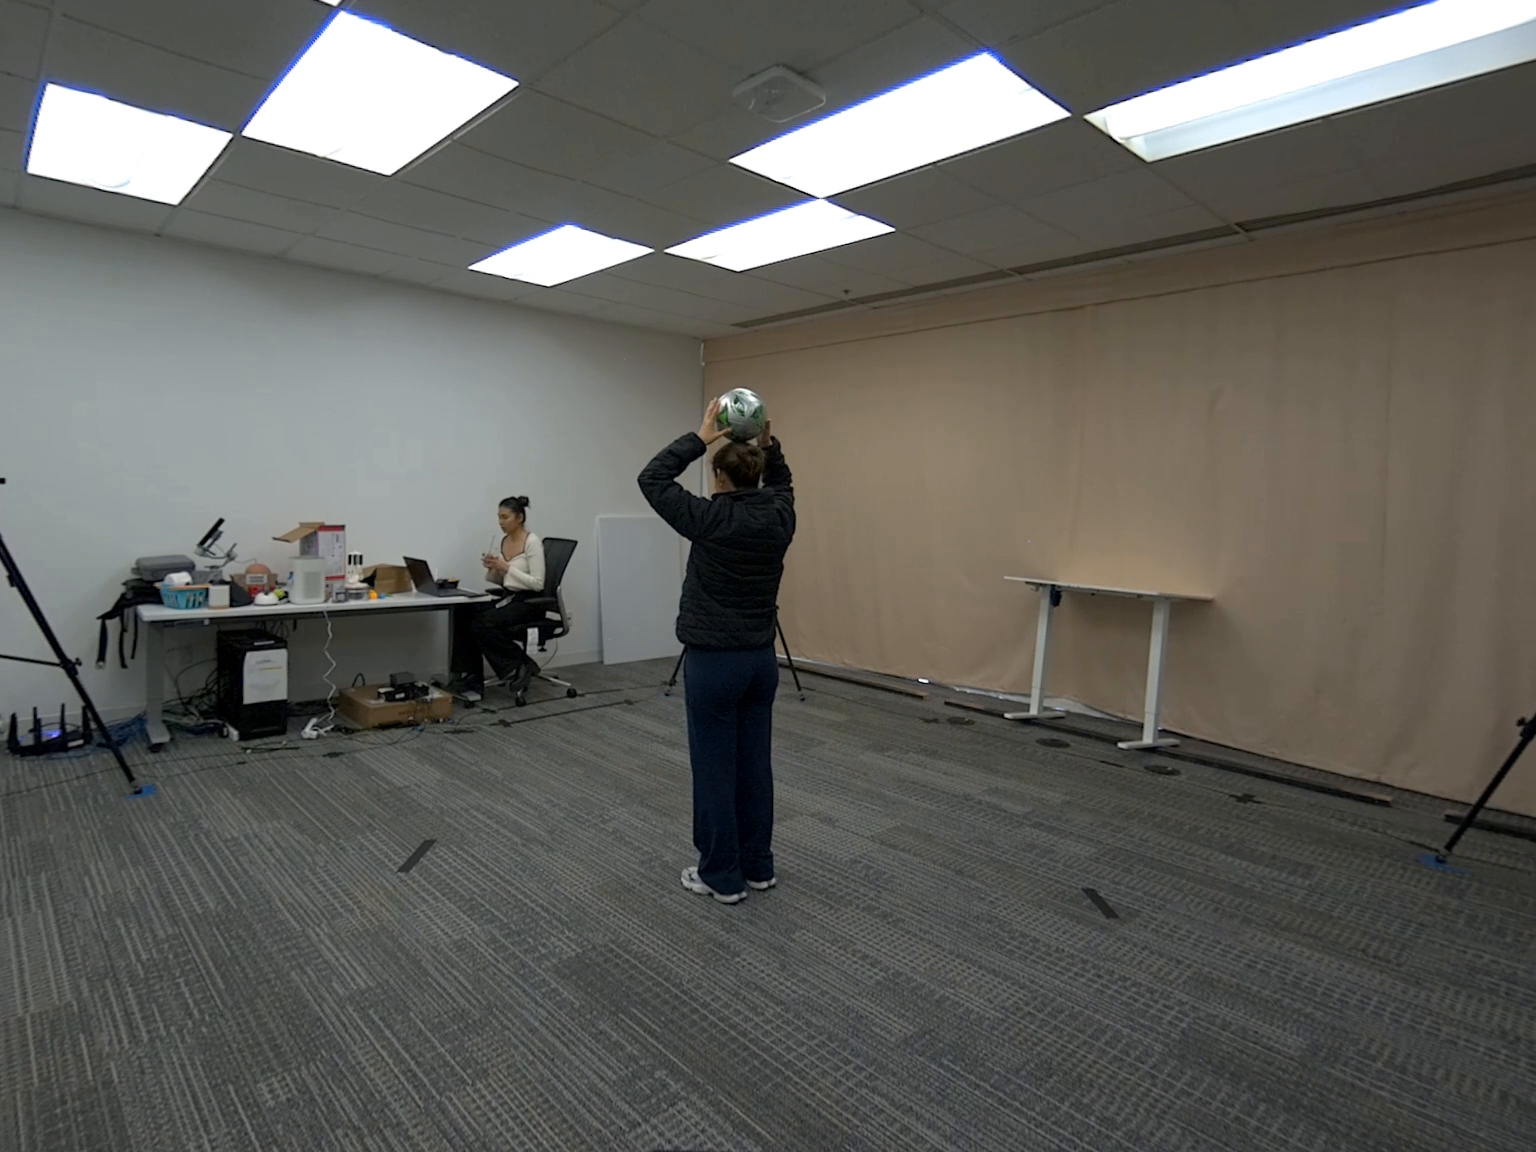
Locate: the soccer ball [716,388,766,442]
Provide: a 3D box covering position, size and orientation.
[{"bbox_3d":[-0.100,-0.564,2.960,0.187,0.187,0.188,1,4,-1],"label":"soccer ball"}]
